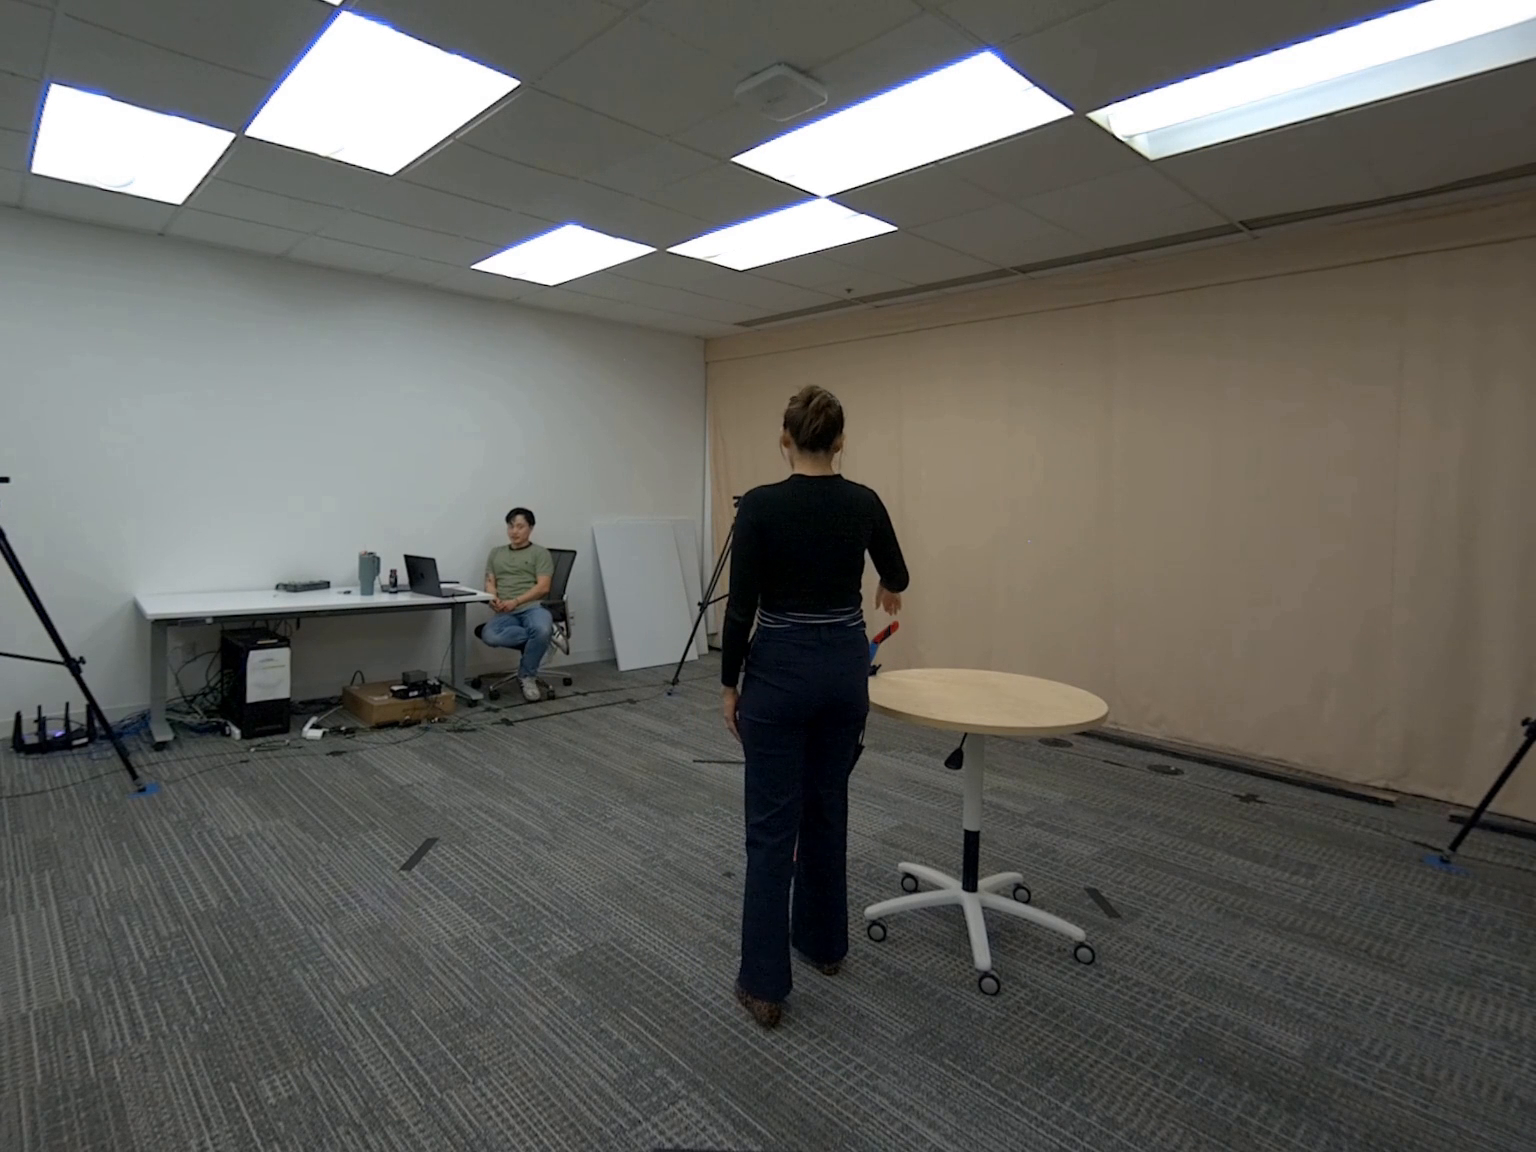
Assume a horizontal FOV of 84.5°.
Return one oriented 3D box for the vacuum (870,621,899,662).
[{"bbox_3d":[0.251,0.640,3.033,0.148,1.041,0.247,34,23,36],"label":"vacuum"}]
